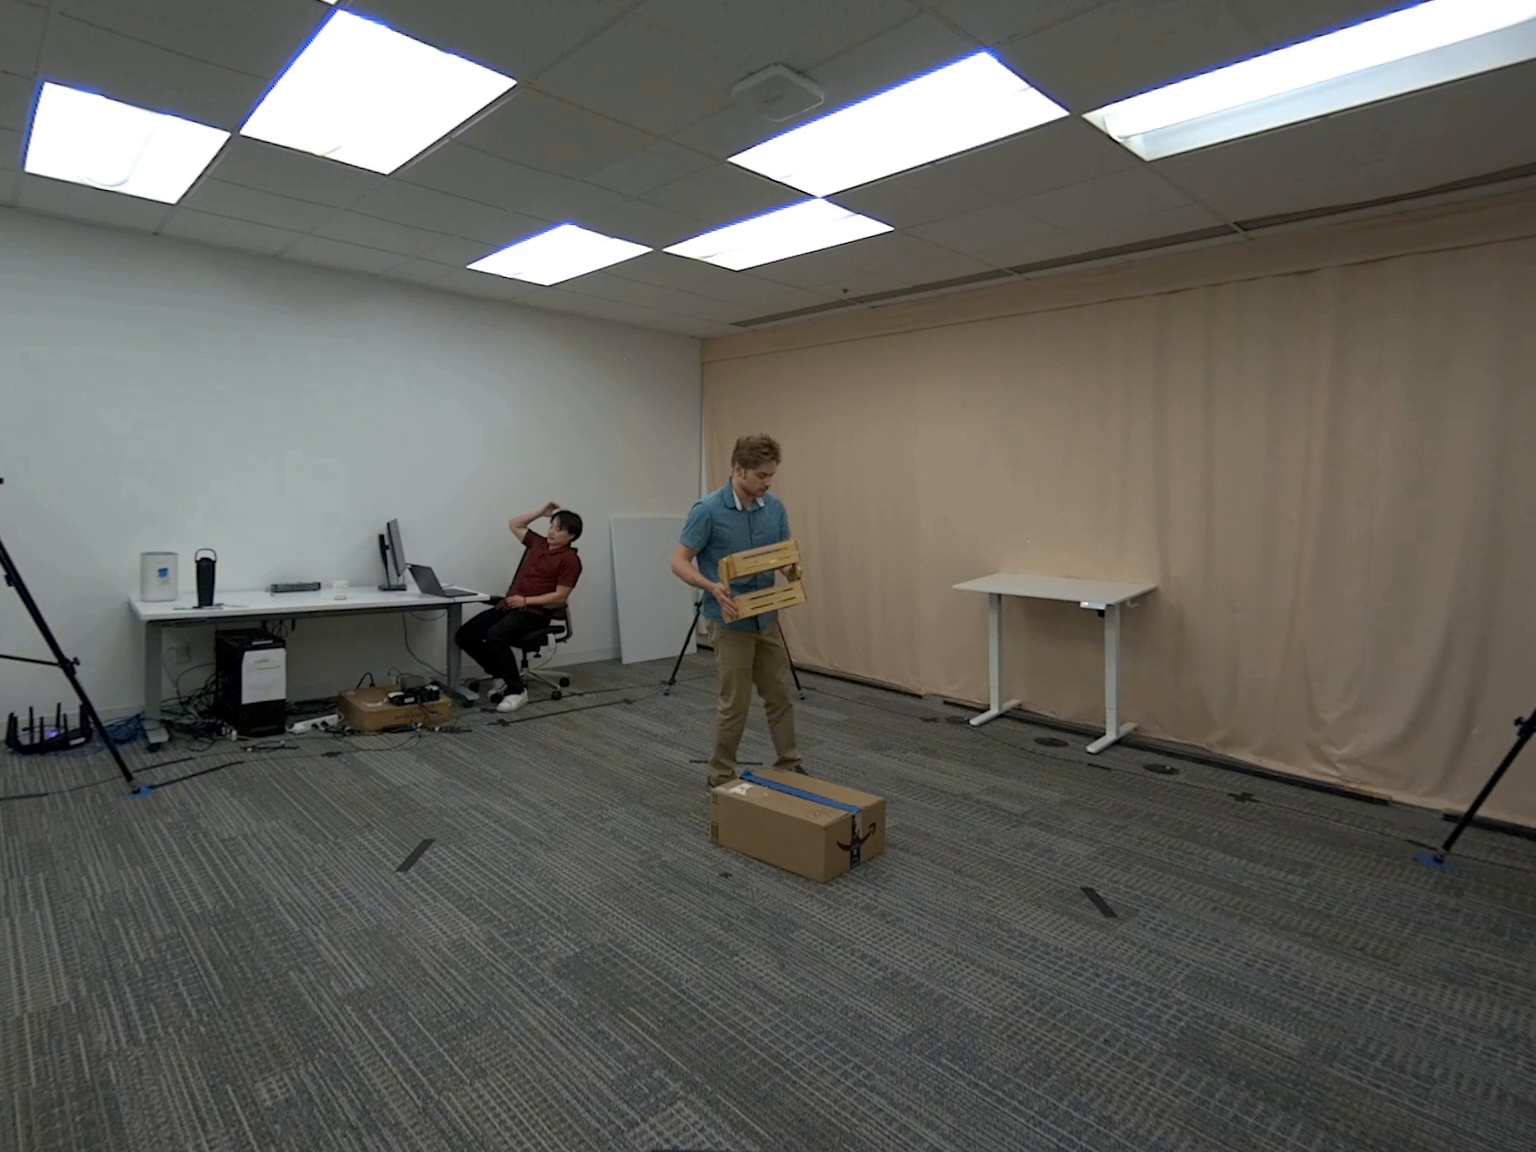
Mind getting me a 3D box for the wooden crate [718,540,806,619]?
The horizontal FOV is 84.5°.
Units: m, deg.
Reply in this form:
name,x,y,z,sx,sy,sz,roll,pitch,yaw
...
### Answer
name,x,y,z,sx,sy,sz,roll,pitch,yaw
wooden crate,-0.043,0.023,3.588,0.320,0.274,0.304,-14,-4,-21
